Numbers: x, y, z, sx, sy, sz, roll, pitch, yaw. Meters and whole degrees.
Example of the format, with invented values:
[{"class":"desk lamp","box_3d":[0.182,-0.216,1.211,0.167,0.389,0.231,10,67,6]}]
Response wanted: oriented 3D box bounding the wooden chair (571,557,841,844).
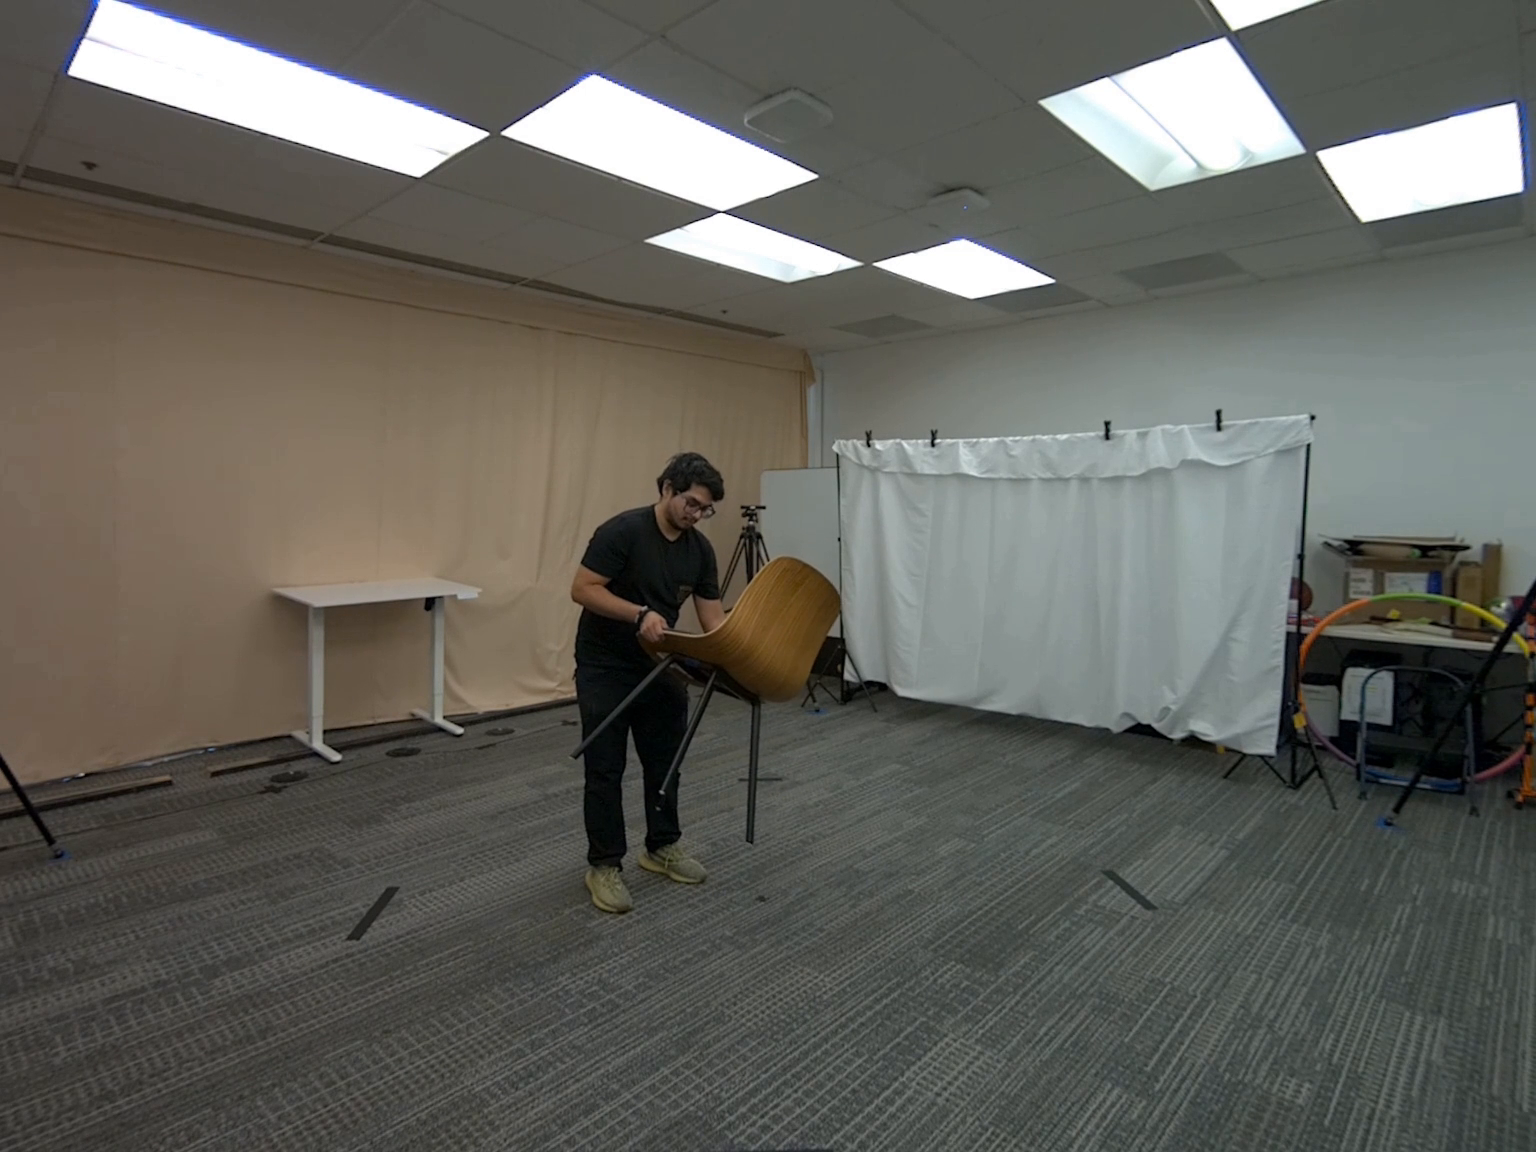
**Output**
[{"class":"wooden chair","box_3d":[-0.170,0.354,2.797,0.541,0.878,0.461,8,-26,46]}]
